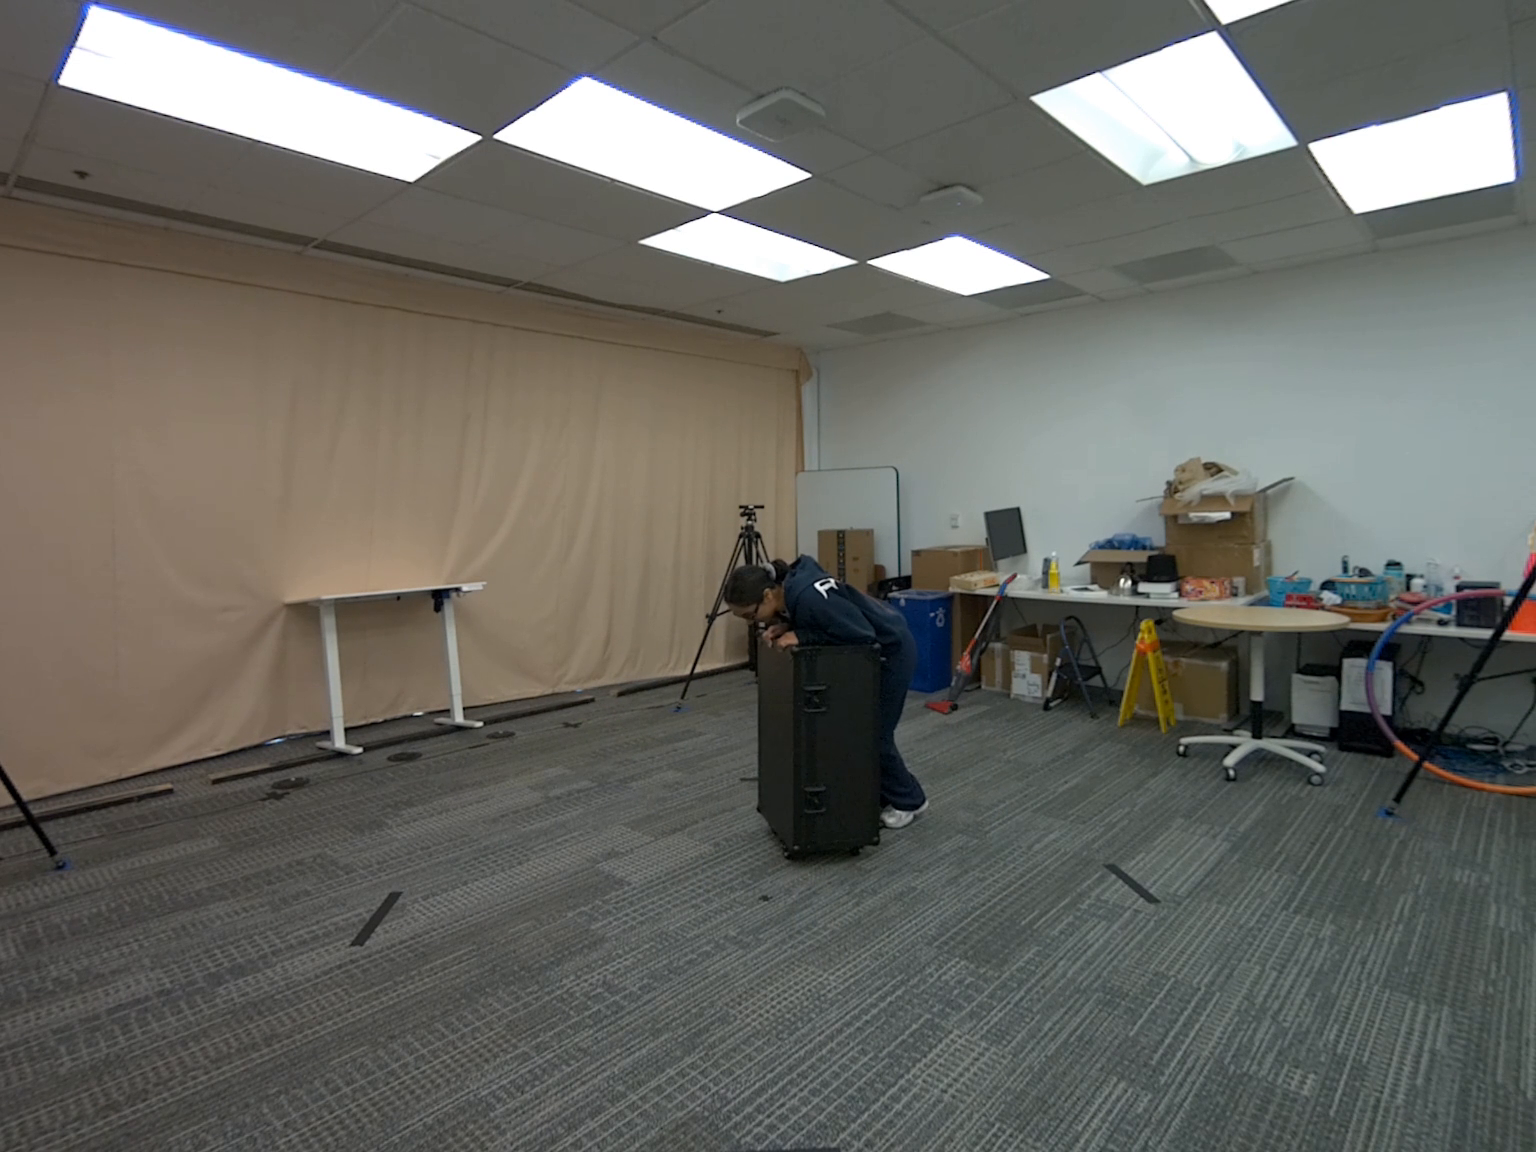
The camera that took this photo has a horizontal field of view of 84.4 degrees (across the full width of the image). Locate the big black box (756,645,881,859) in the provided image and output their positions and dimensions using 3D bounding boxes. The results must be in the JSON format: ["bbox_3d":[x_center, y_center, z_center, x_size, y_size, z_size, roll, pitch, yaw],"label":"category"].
[{"bbox_3d":[0.200,0.682,3.437,0.391,0.860,0.529,0,2,-14],"label":"big black box"}]
